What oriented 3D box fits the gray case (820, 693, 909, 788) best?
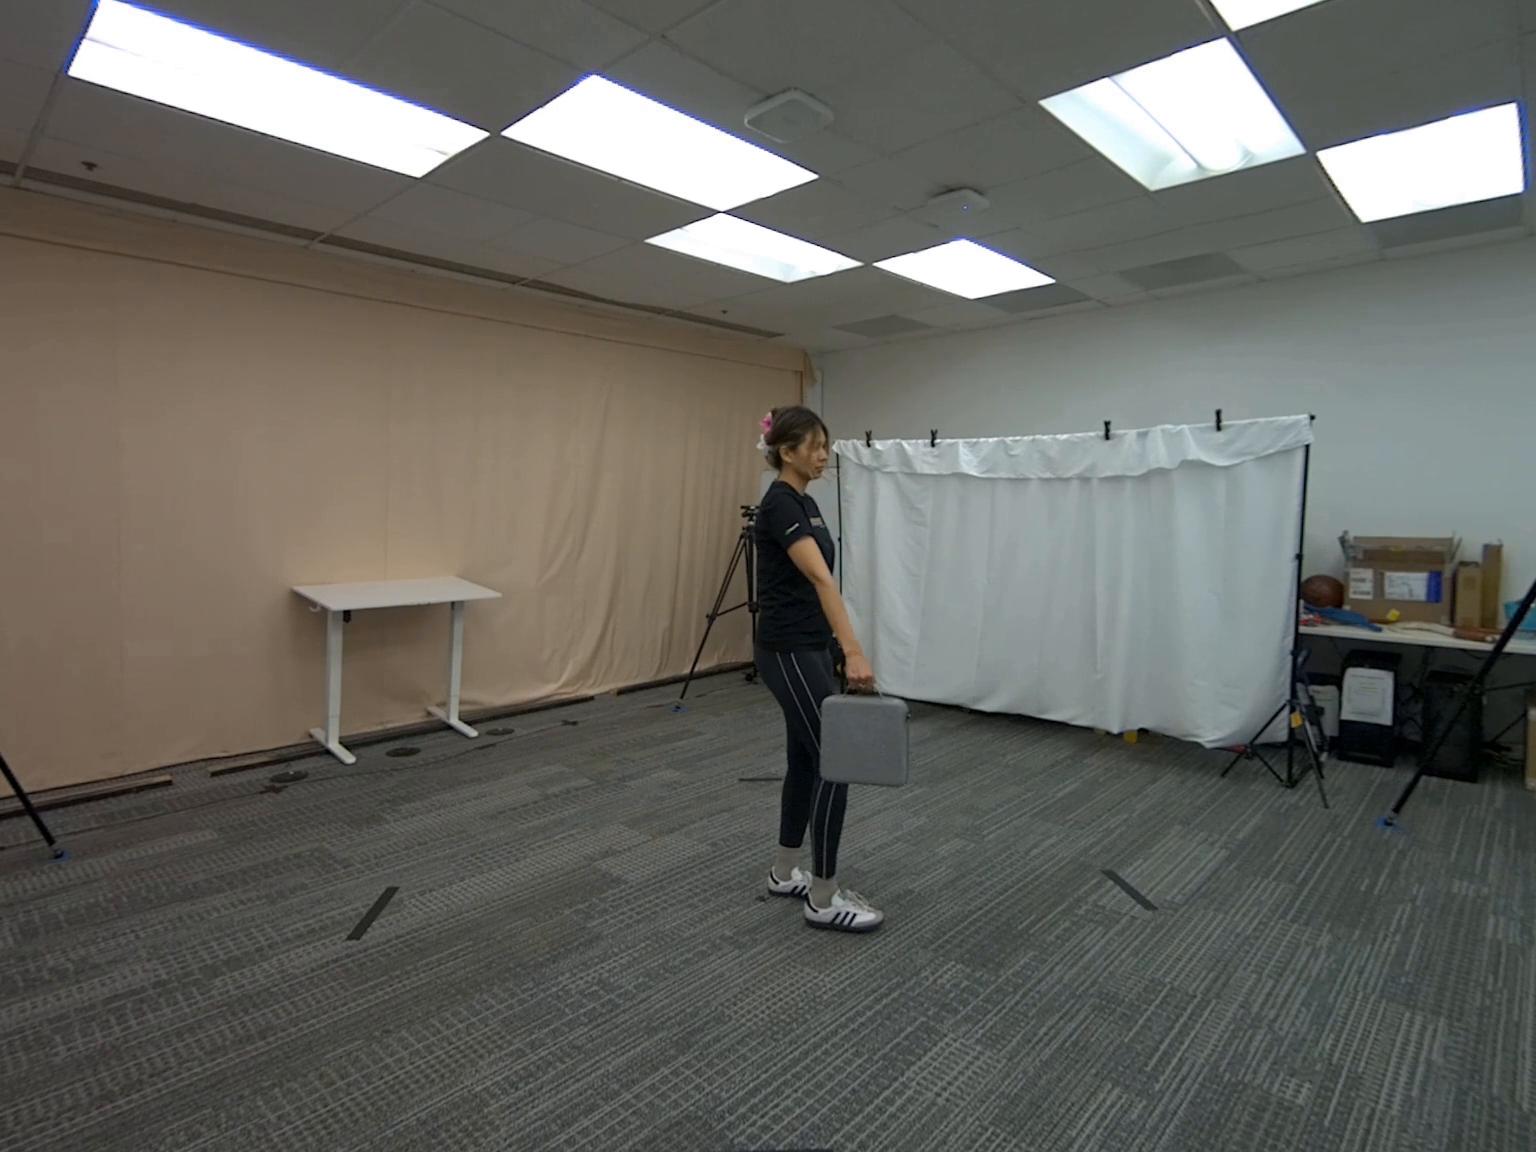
[{"bbox_3d":[0.296,0.487,2.504,0.261,0.261,0.102,-2,-5,14],"label":"gray case"}]
